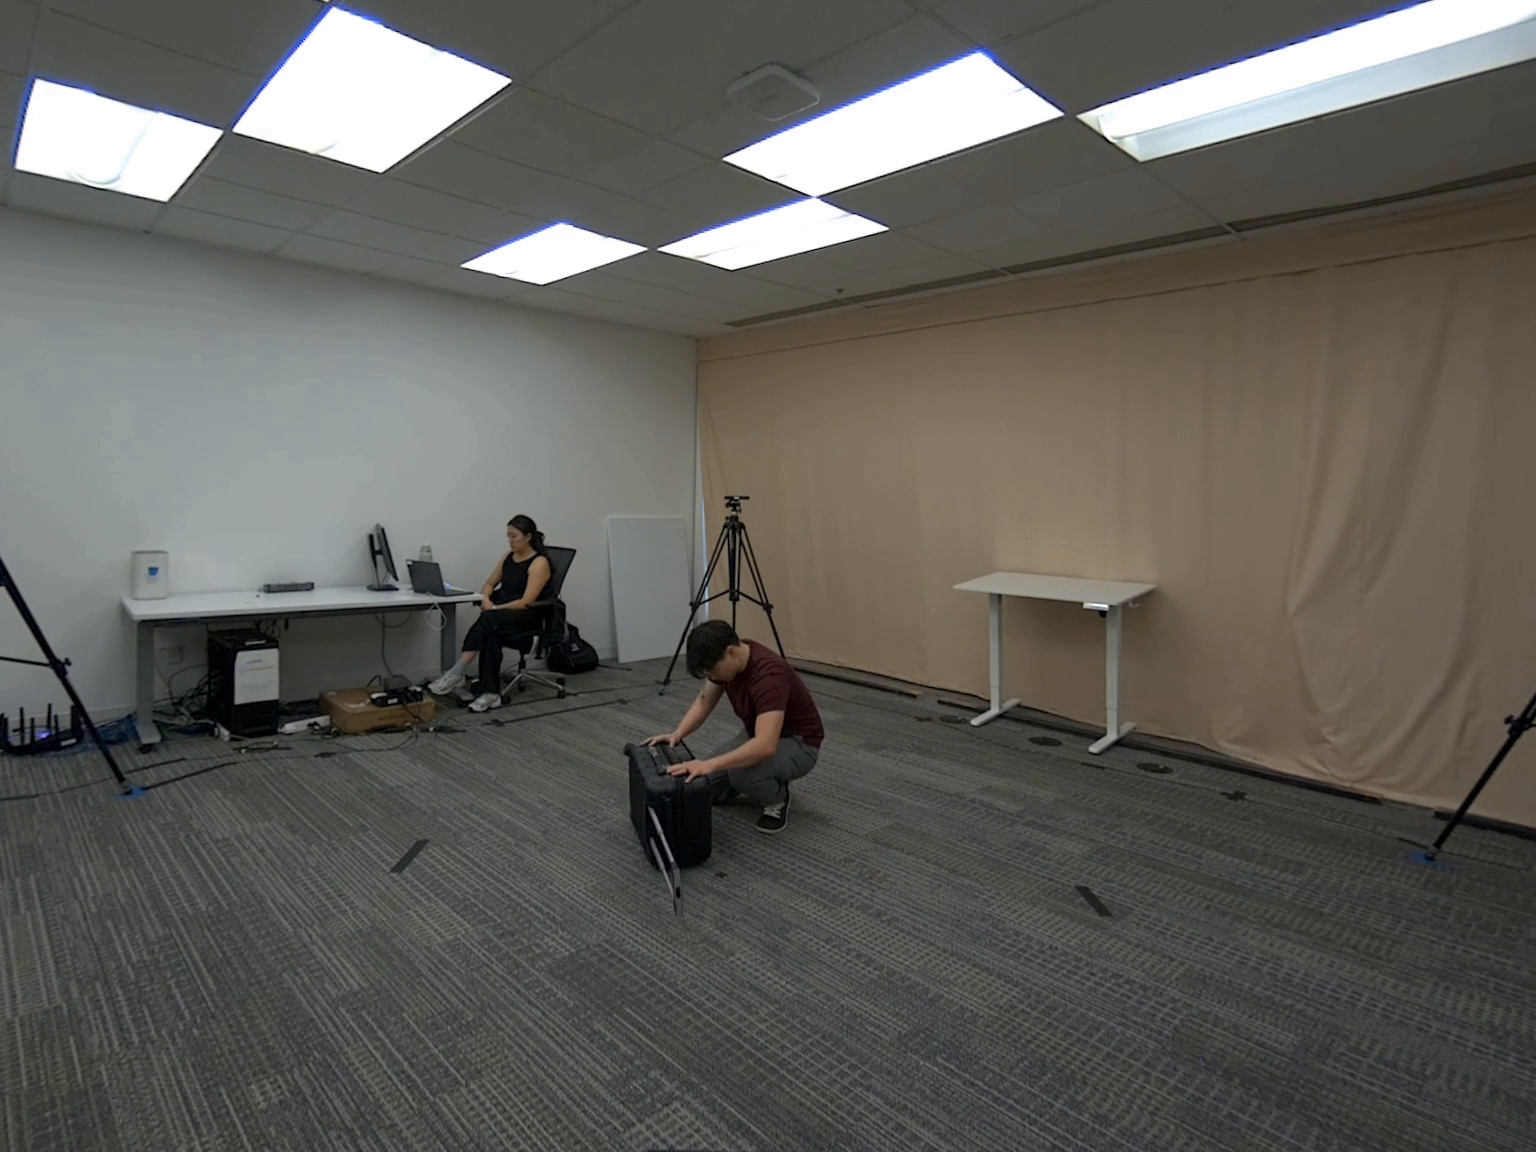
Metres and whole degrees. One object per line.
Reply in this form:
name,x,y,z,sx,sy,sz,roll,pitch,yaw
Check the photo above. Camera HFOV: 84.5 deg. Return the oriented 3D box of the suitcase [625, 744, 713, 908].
suitcase,-0.332,0.911,3.129,0.253,0.382,0.996,-2,7,-19
